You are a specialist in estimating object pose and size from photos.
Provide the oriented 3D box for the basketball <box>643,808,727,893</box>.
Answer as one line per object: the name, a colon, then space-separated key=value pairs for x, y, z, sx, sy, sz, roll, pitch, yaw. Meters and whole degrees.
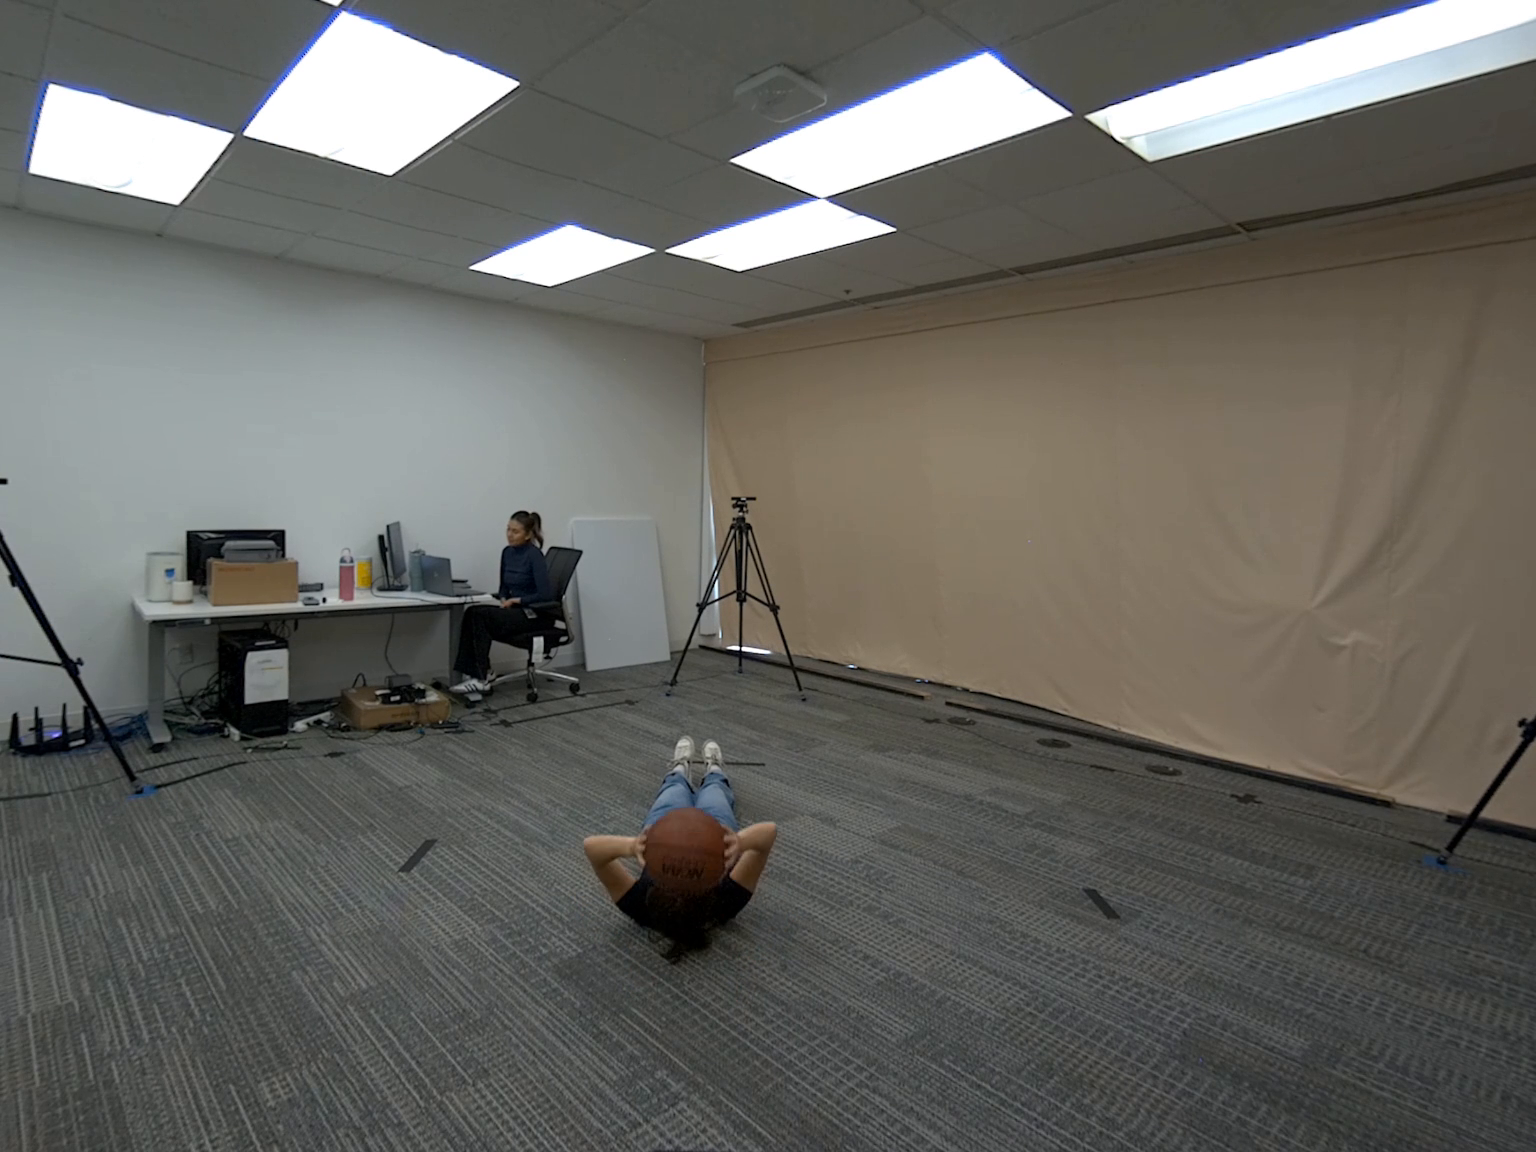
basketball: x=-0.235 y=0.772 z=2.375 sx=0.236 sy=0.235 sz=0.237 roll=1 pitch=4 yaw=-1
